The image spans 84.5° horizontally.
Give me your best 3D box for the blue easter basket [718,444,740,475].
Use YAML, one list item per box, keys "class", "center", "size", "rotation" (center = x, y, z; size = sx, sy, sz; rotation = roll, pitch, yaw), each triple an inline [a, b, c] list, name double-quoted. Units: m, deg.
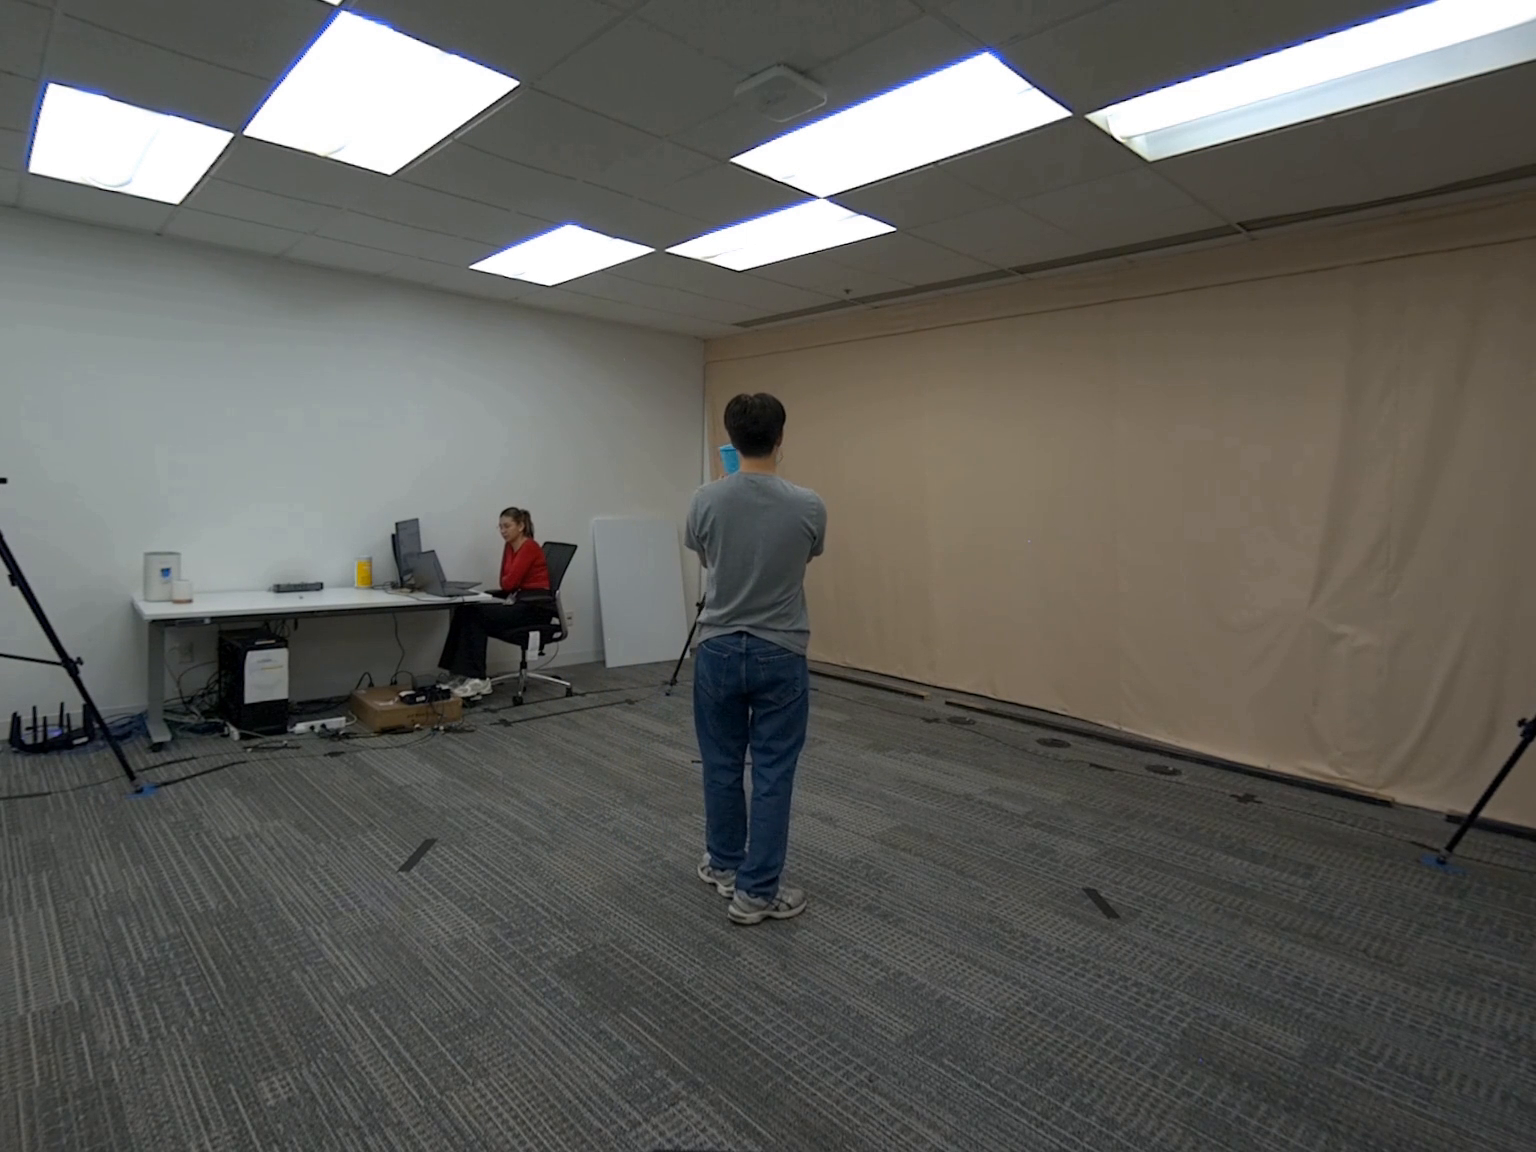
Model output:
- class: "blue easter basket"
  center: [-0.066, -0.428, 3.233]
  size: [0.244, 0.154, 0.246]
  rotation: [-7, 12, 0]
